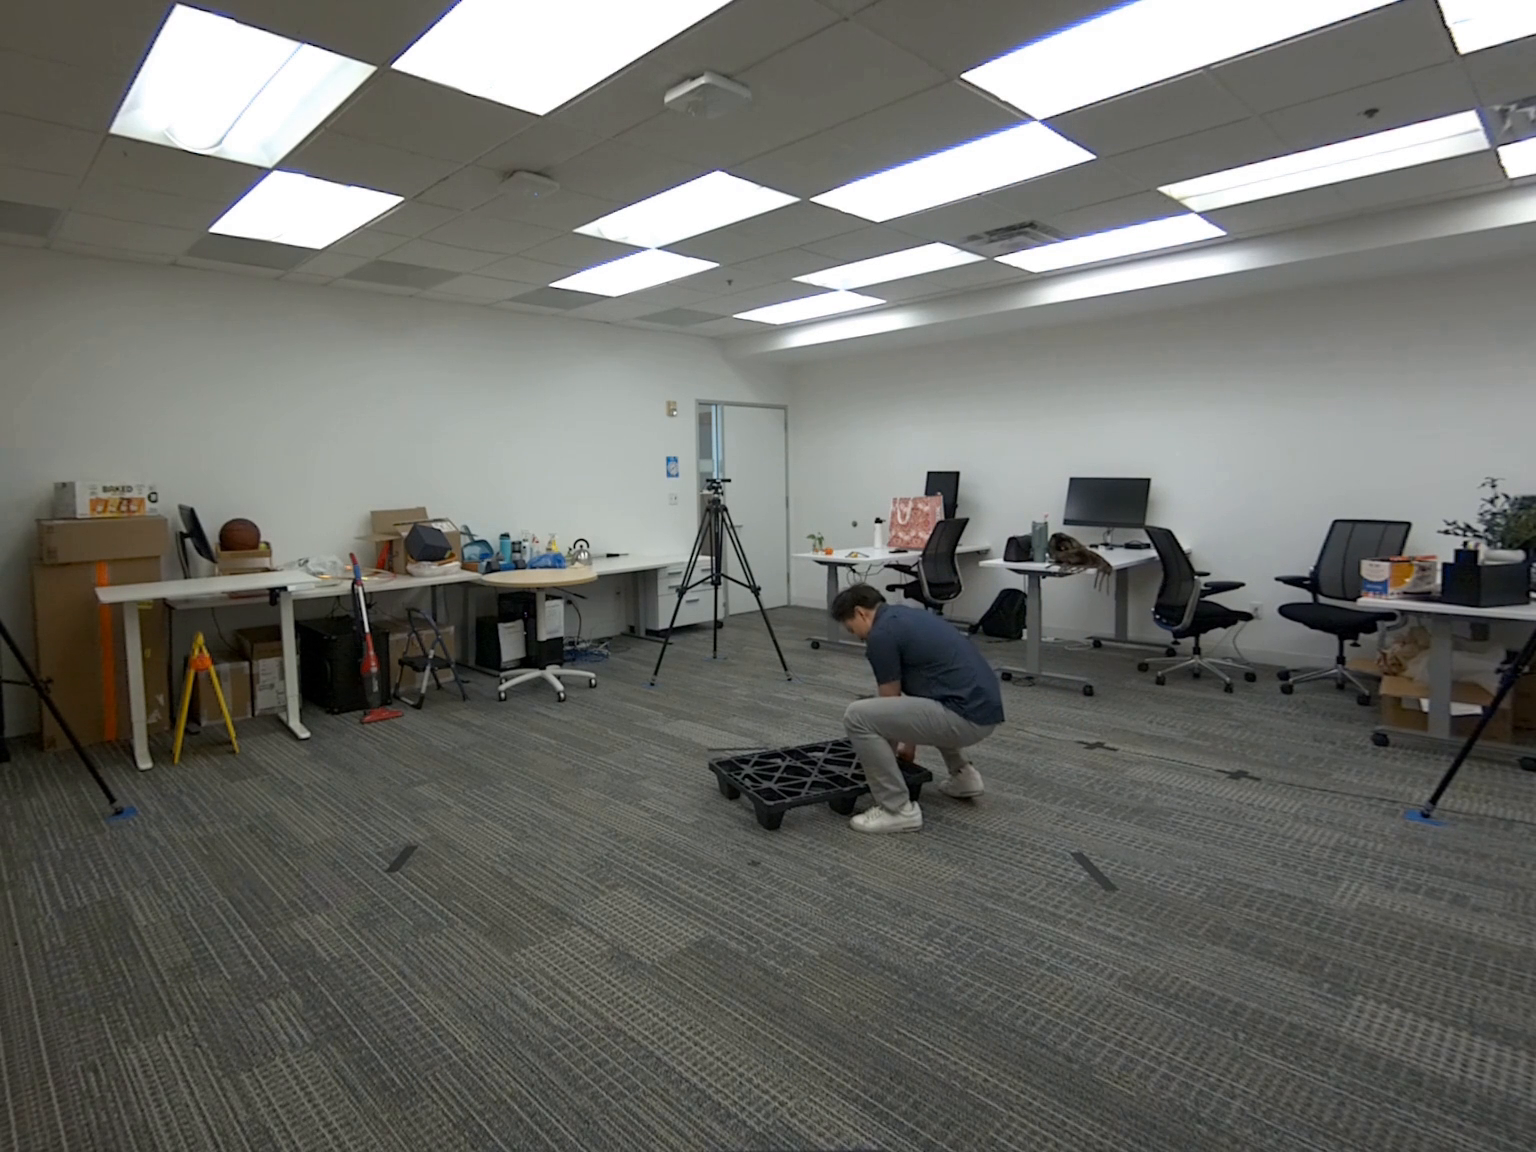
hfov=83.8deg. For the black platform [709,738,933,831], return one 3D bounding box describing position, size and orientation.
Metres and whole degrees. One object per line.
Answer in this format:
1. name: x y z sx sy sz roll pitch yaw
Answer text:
1. black platform: 0.215 0.897 3.751 0.789 0.143 0.620 -4 6 -26
